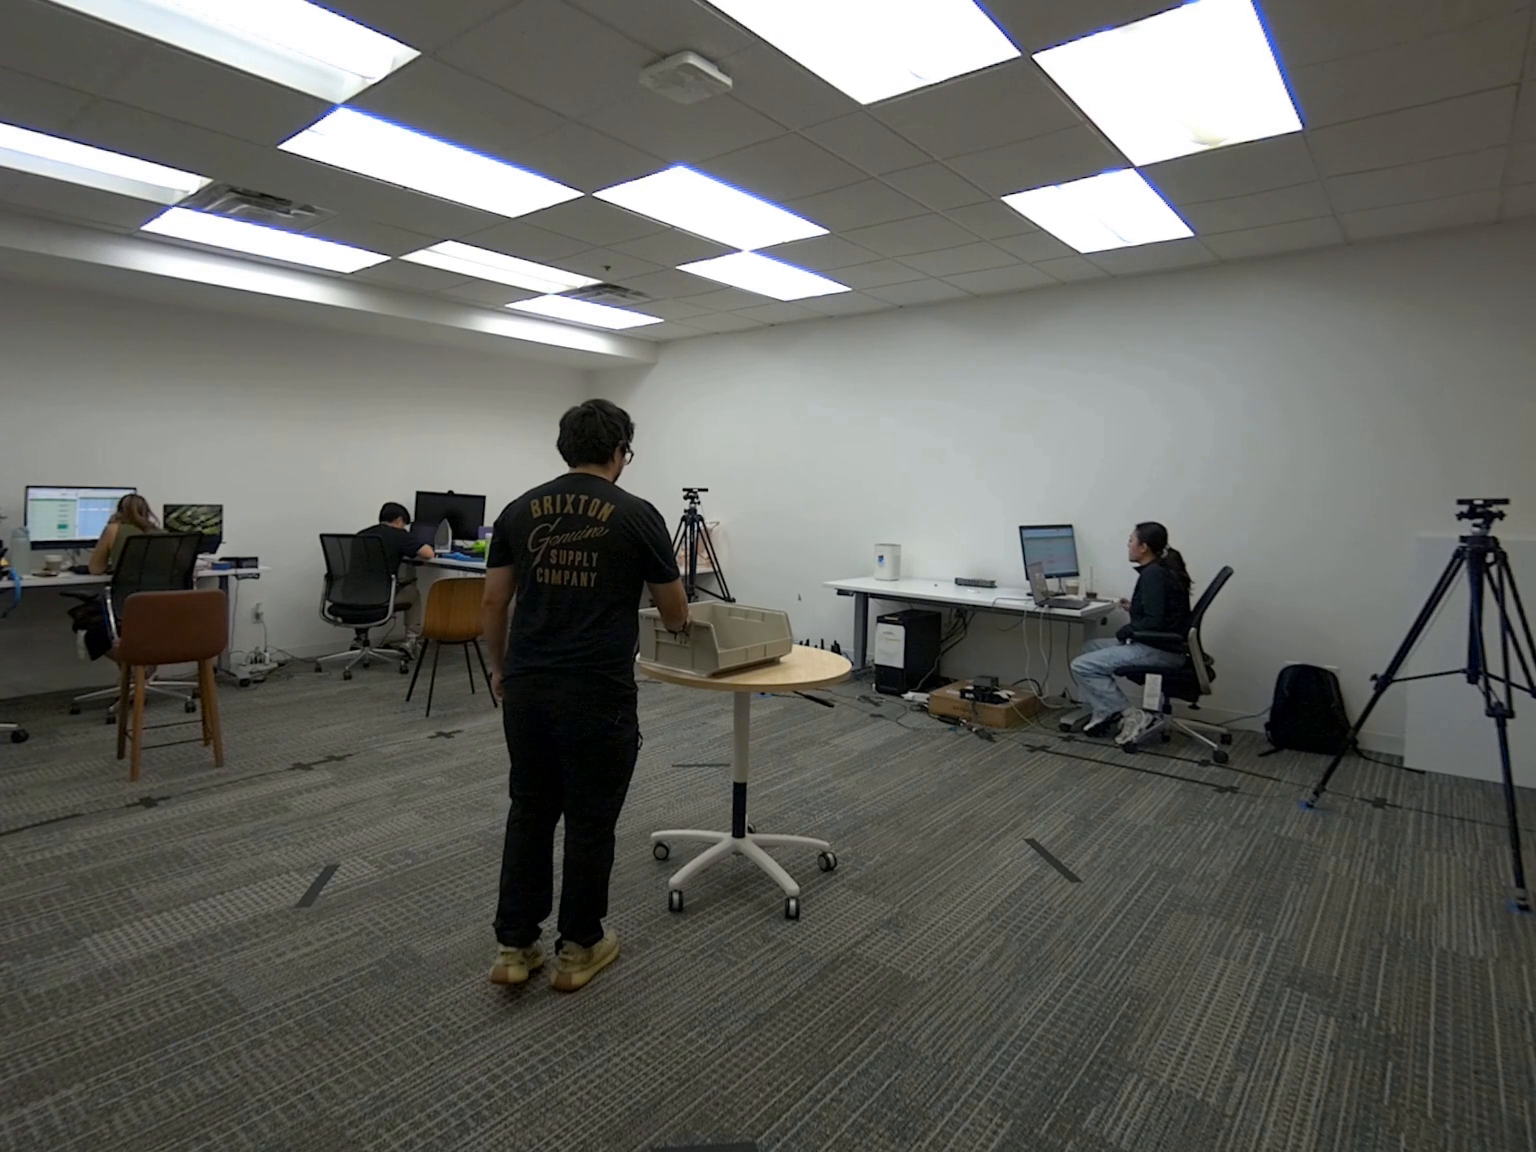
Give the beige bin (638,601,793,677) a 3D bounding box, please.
[{"bbox_3d":[-0.193,0.210,2.956,0.390,0.188,0.410,4,6,38],"label":"beige bin"}]
